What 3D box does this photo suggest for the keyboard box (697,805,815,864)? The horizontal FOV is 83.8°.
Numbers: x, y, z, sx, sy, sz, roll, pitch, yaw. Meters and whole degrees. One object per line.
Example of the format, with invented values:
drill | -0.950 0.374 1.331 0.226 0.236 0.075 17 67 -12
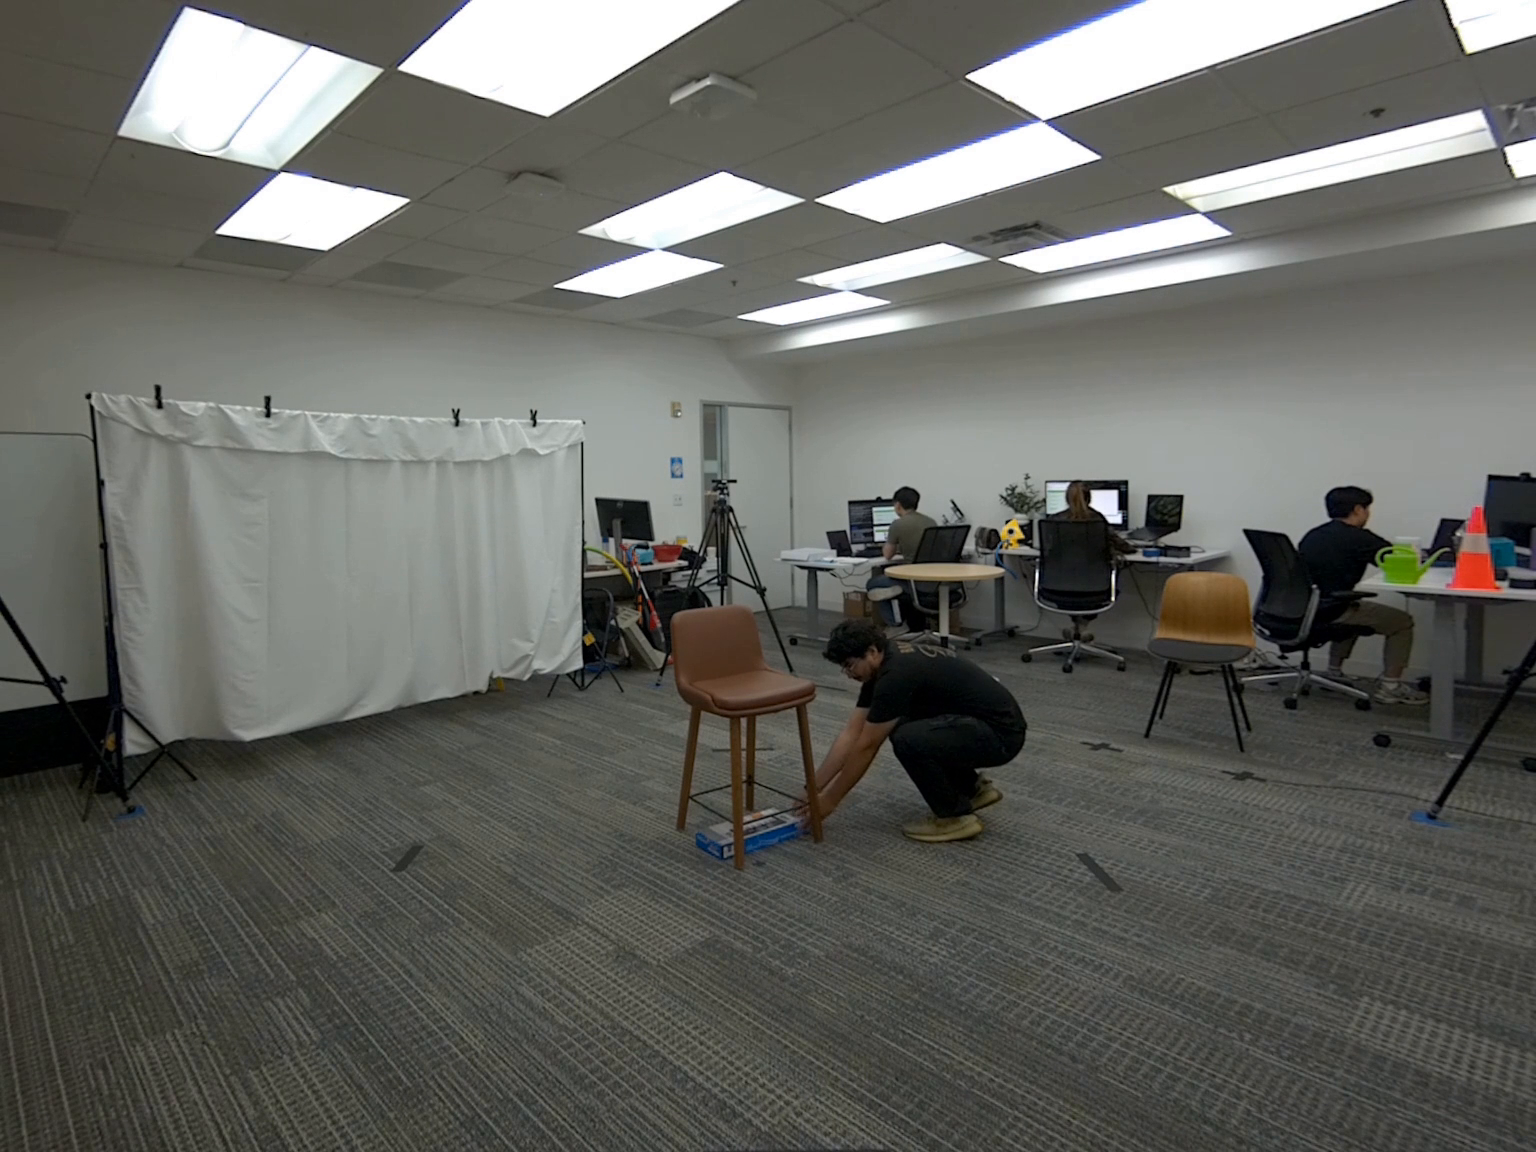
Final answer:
keyboard box | -0.046 0.995 3.327 0.426 0.059 0.181 -6 7 -37
